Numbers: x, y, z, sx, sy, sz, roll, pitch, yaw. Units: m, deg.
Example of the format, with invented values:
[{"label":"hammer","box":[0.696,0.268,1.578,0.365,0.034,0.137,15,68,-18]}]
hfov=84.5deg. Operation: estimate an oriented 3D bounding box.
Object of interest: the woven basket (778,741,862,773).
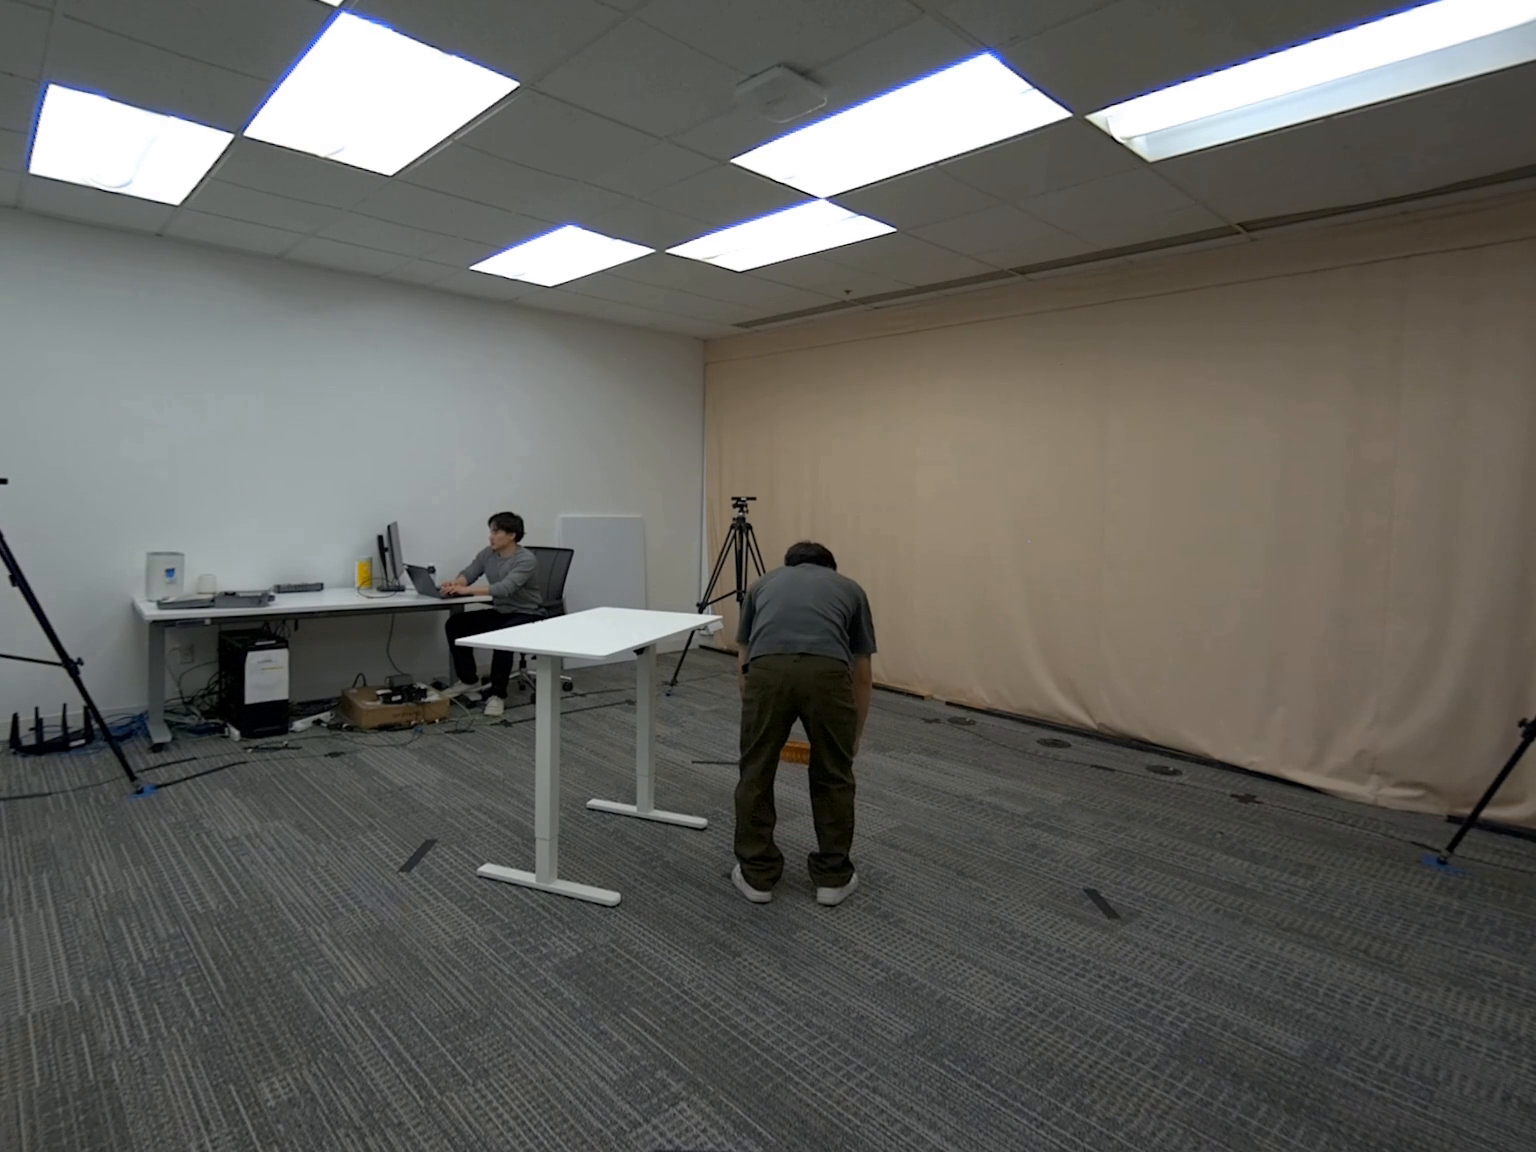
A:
[{"label":"woven basket","box":[0.157,0.704,3.304,0.356,0.074,0.247,4,-7,22]}]
